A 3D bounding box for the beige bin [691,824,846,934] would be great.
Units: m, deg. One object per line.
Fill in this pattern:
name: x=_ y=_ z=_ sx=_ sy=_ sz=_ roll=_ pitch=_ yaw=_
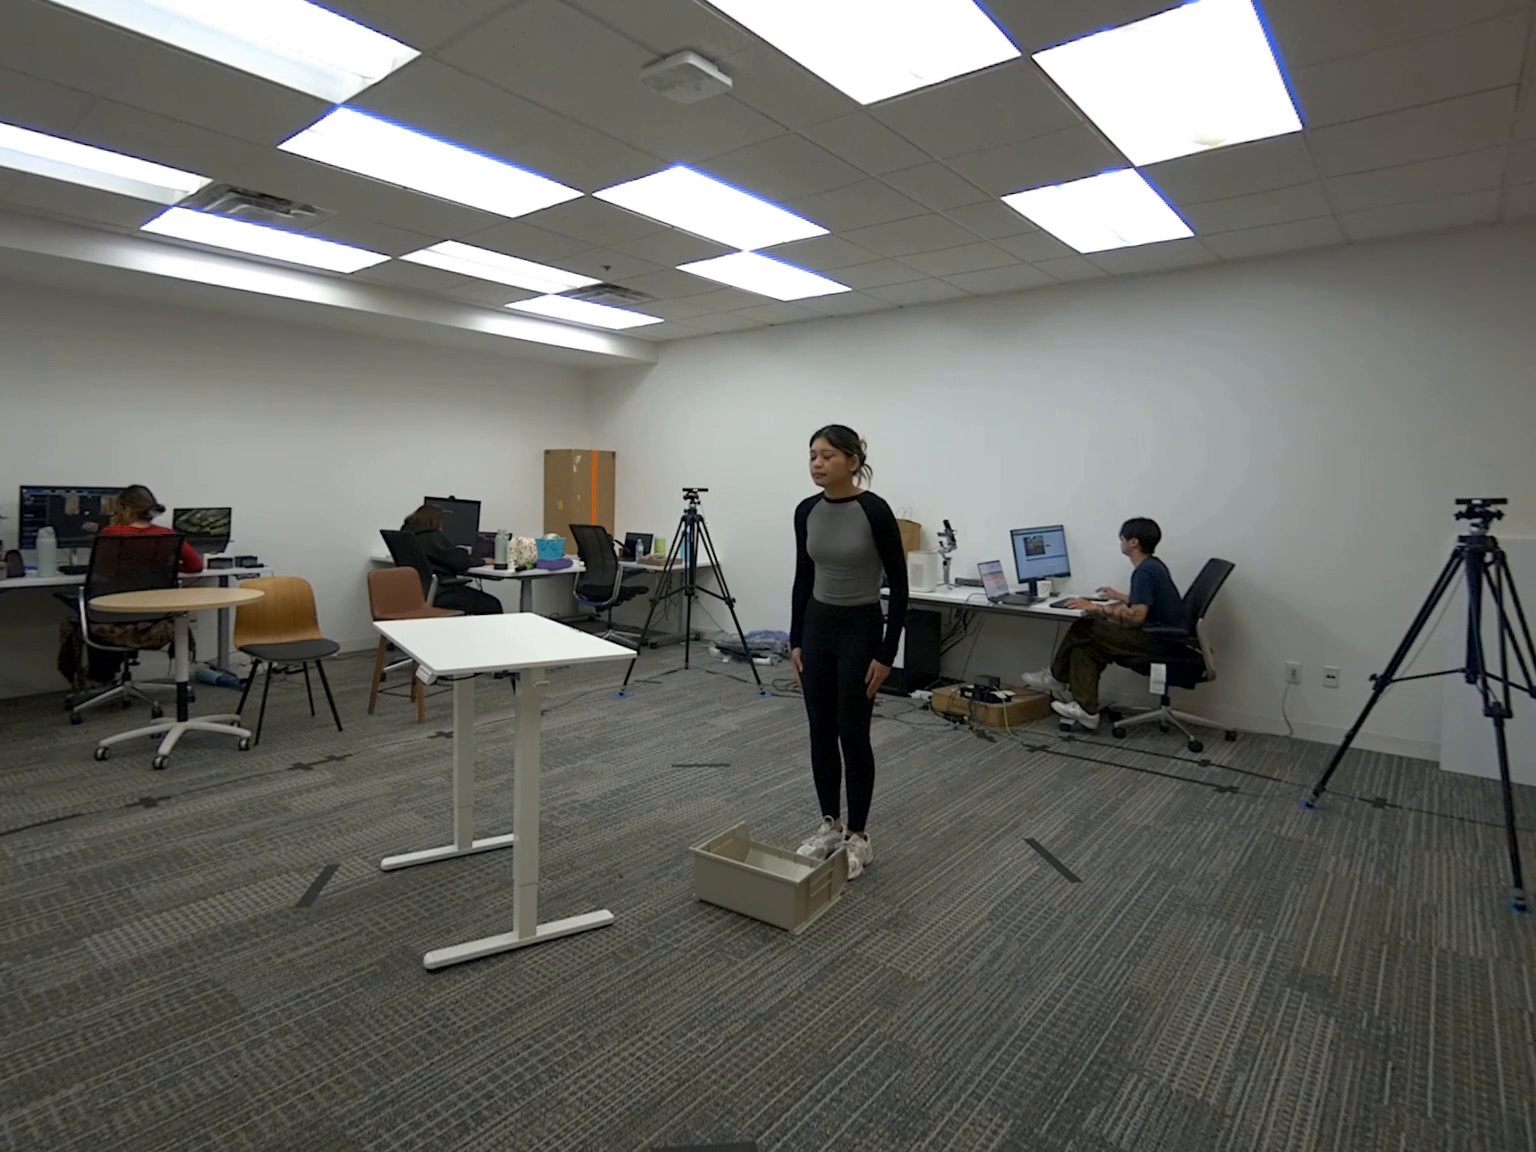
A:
beige bin: x=-0.001 y=1.005 z=2.900 sx=0.435 sy=0.188 sz=0.367 roll=5 pitch=7 yaw=32
